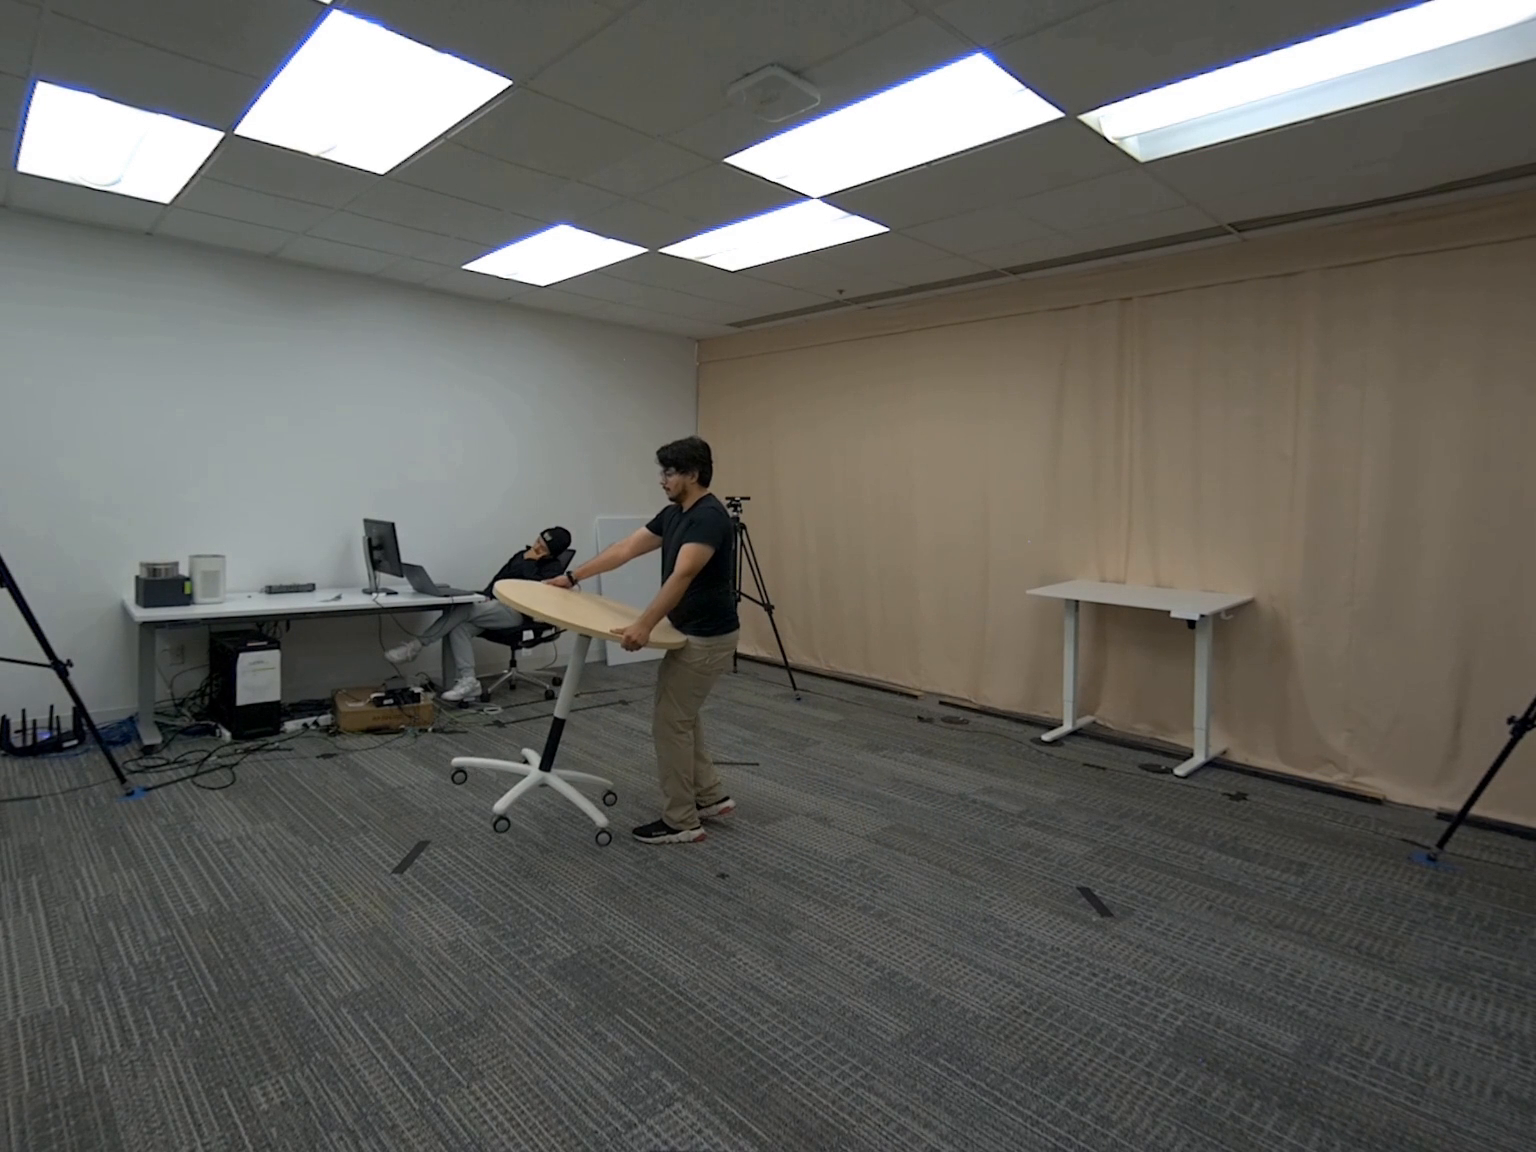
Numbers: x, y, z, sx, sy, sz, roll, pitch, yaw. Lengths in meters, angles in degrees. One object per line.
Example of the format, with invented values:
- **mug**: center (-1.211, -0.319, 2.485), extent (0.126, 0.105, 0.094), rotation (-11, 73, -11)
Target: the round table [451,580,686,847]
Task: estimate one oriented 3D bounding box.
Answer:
- **round table**: center (-0.794, 0.520, 3.272), extent (0.784, 0.785, 0.788), rotation (16, 4, -3)
